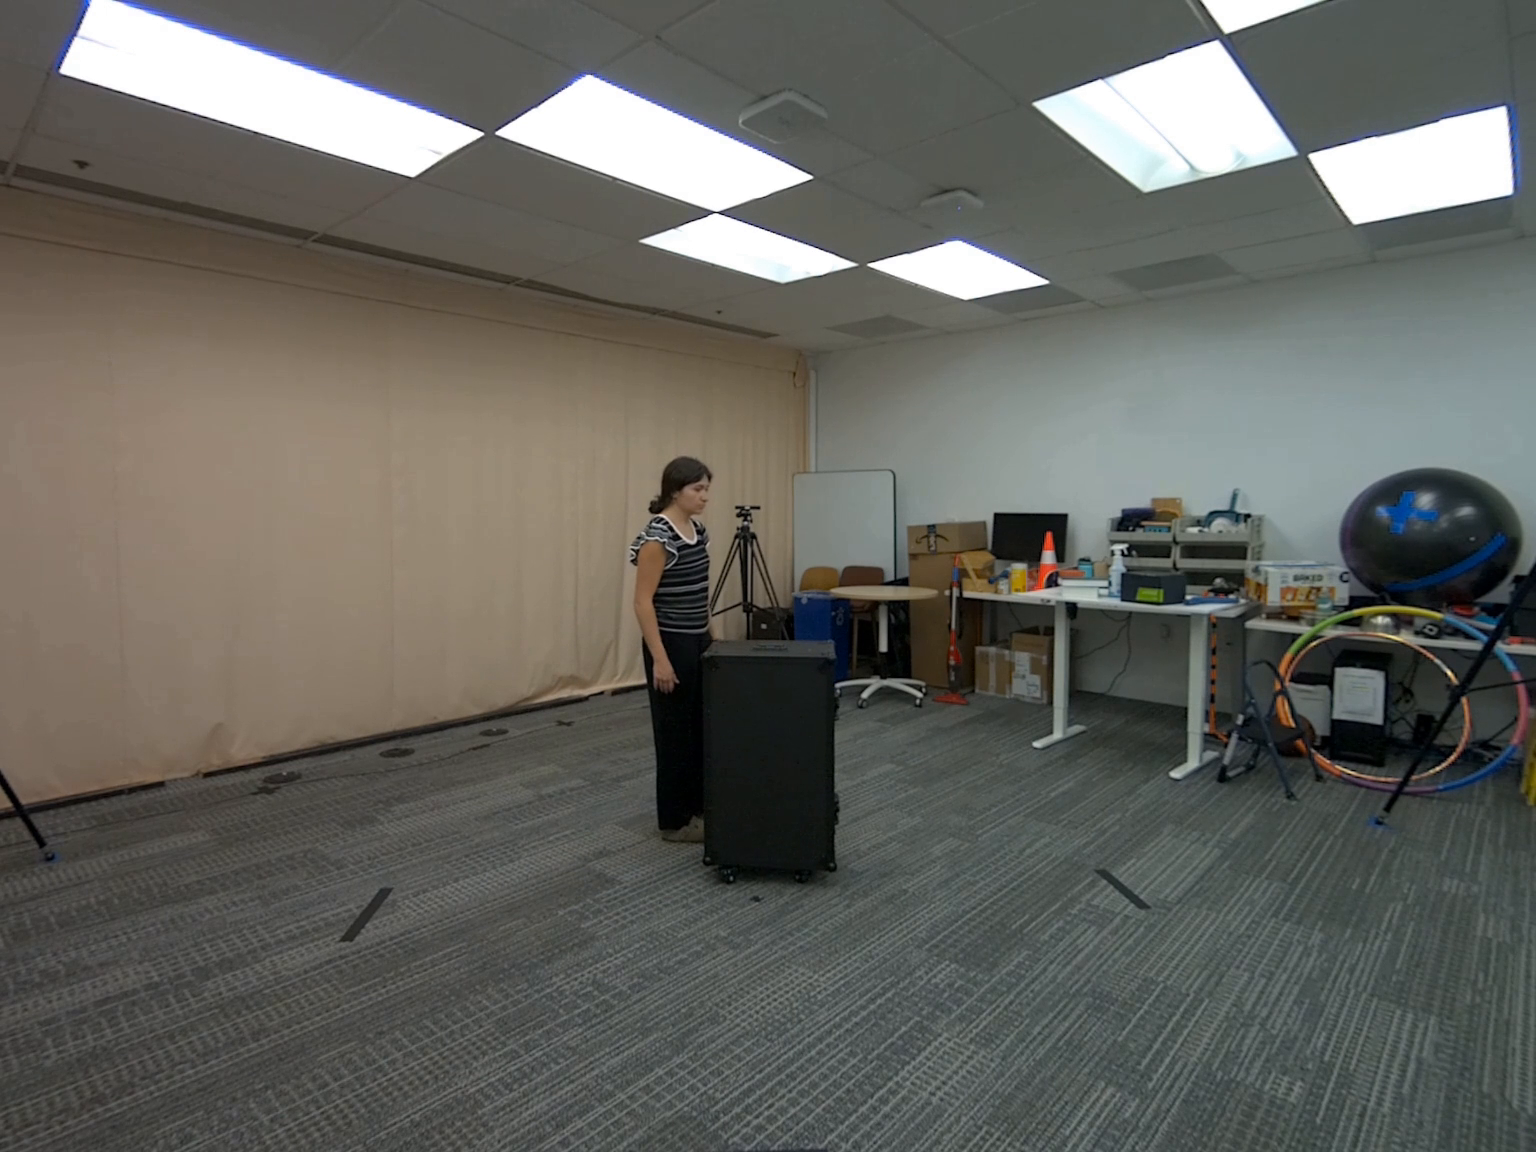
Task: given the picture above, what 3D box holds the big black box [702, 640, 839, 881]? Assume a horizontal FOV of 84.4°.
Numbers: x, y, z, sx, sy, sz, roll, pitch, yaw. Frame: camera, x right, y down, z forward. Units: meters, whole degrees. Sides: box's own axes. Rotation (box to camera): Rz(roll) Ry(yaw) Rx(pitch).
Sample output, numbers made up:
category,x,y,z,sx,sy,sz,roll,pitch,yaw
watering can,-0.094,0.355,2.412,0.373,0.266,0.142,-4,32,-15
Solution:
category,x,y,z,sx,sy,sz,roll,pitch,yaw
big black box,0.016,0.695,3.229,0.525,0.860,0.394,-1,3,6
